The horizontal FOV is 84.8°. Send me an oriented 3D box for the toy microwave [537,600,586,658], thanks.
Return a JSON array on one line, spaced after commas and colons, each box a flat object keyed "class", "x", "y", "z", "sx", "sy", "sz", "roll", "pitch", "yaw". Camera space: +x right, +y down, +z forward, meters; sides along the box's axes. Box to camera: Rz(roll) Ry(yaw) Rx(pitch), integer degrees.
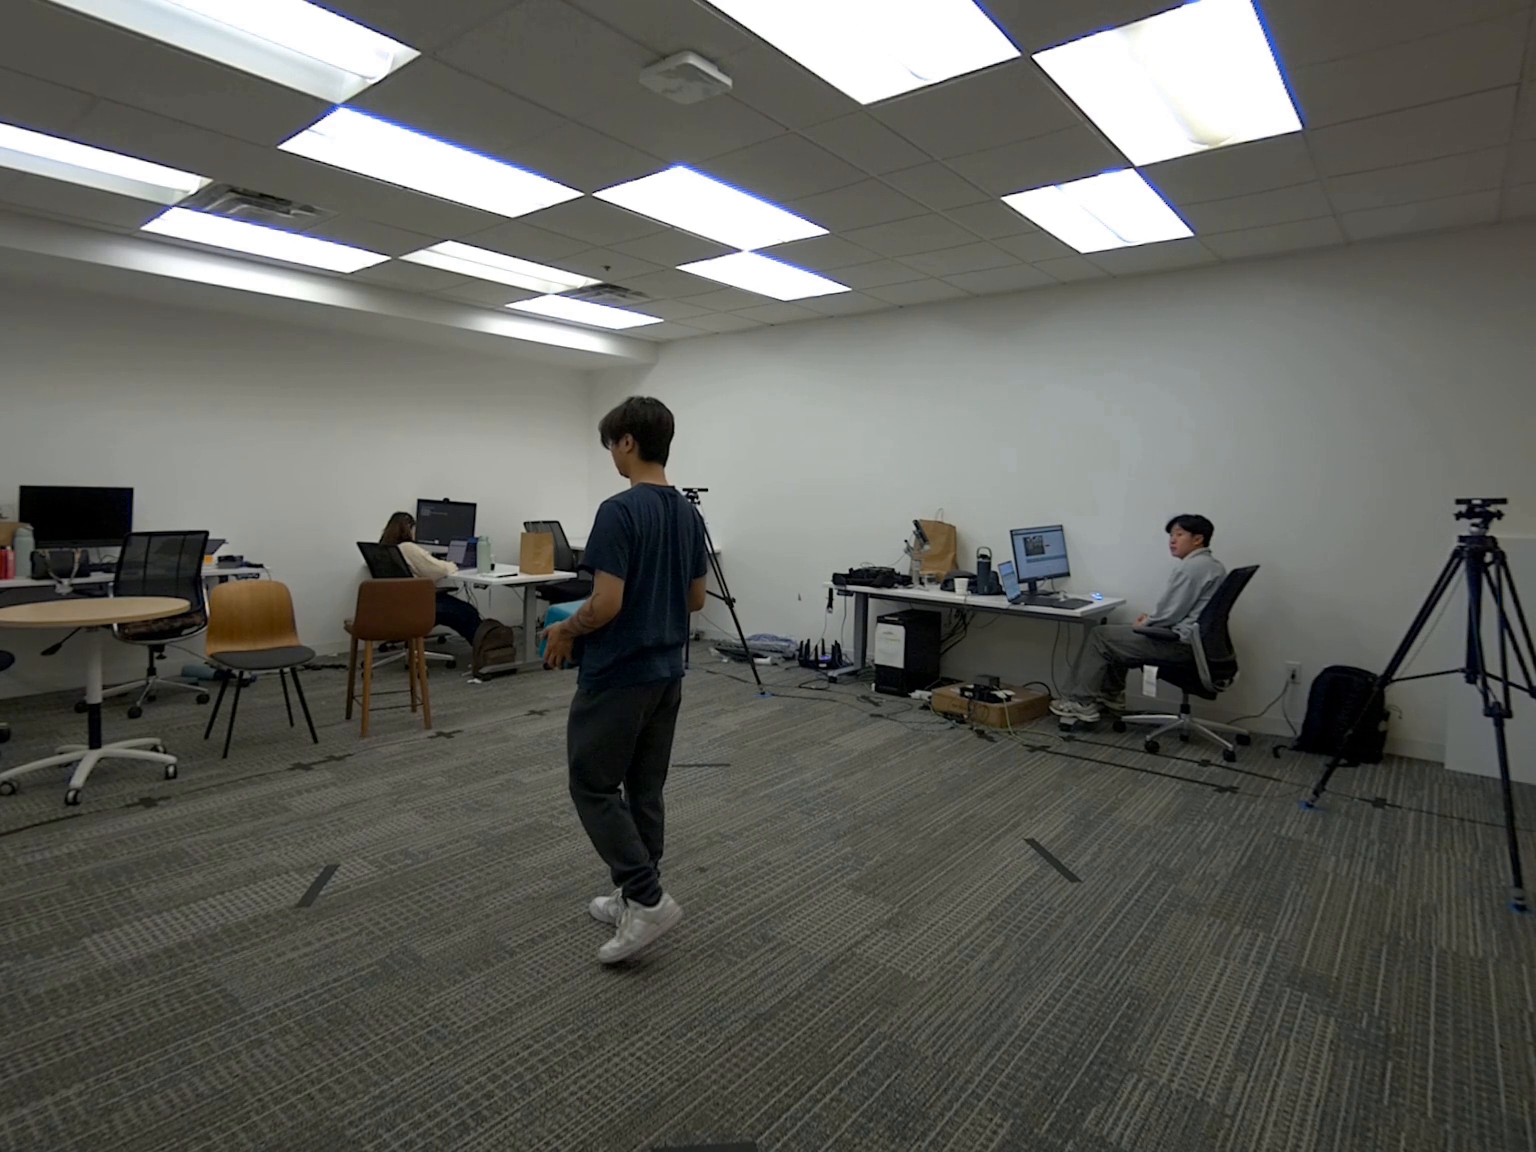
[{"class": "toy microwave", "x": -0.616, "y": 0.172, "z": 2.792, "sx": 0.157, "sy": 0.183, "sz": 0.279, "roll": 19, "pitch": 12, "yaw": 25}]
